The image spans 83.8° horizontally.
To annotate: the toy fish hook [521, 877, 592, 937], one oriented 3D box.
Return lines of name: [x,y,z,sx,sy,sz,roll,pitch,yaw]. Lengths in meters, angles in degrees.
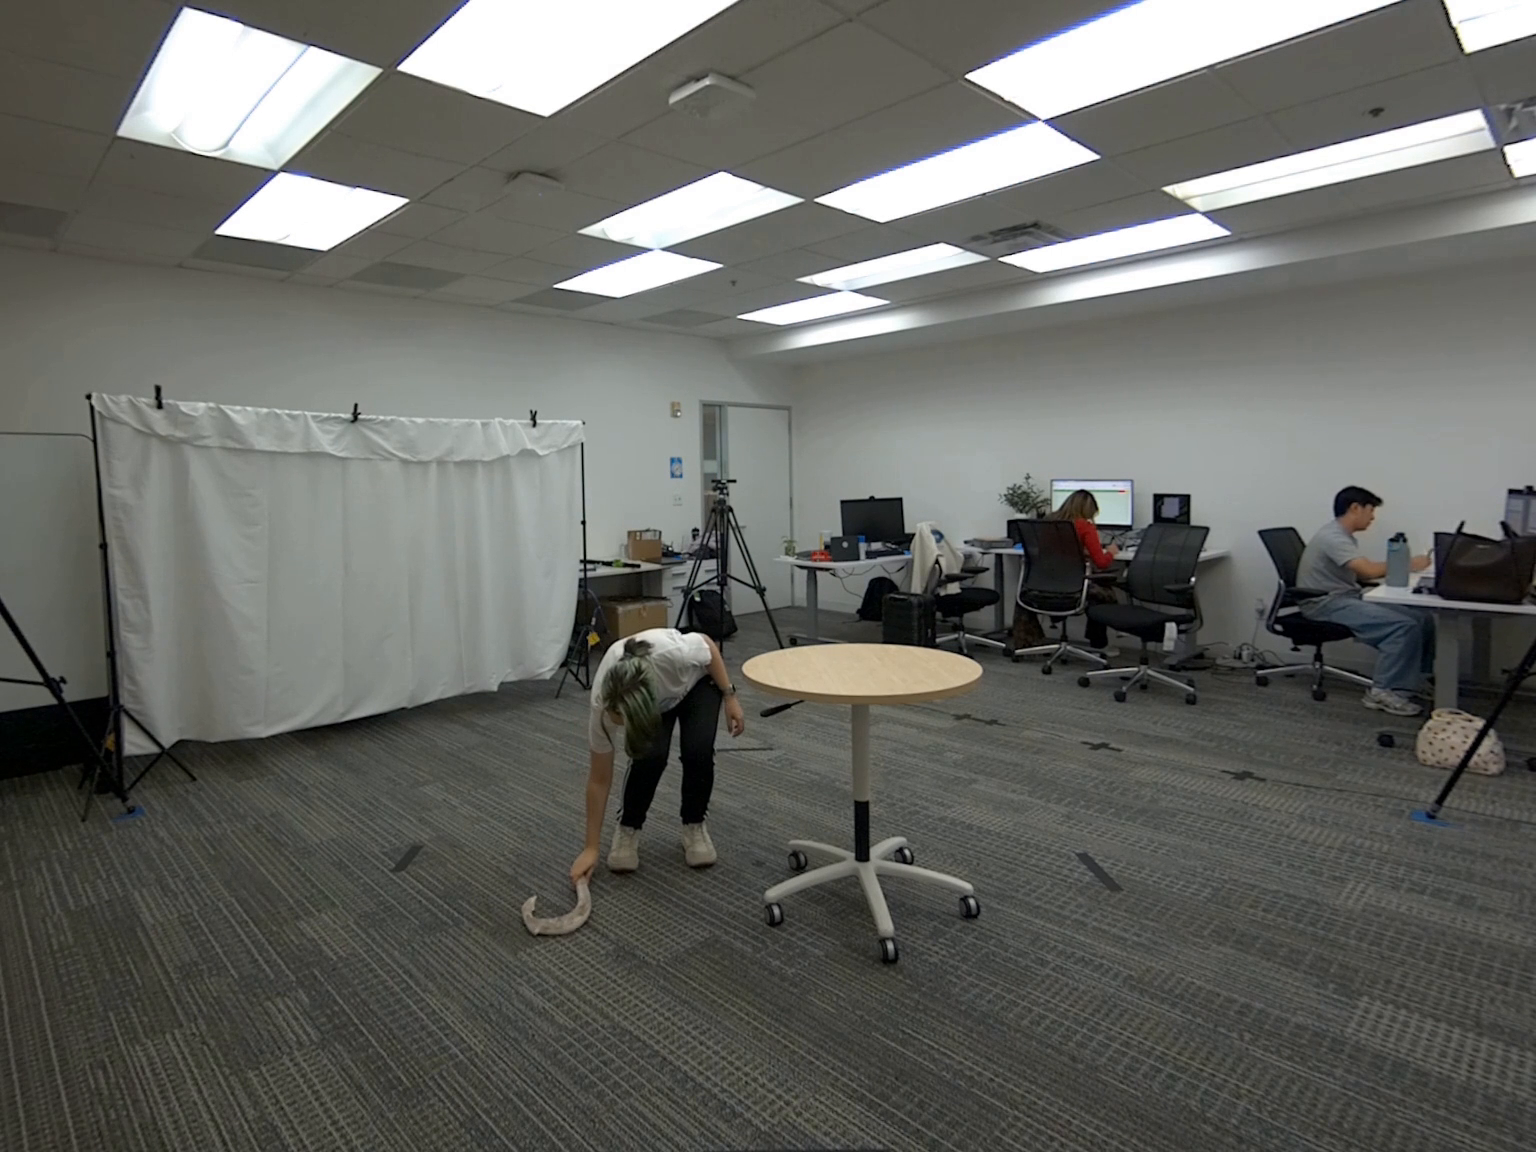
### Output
toy fish hook: [-0.688,1.045,2.878,0.224,0.048,0.511,2,9,-3]
